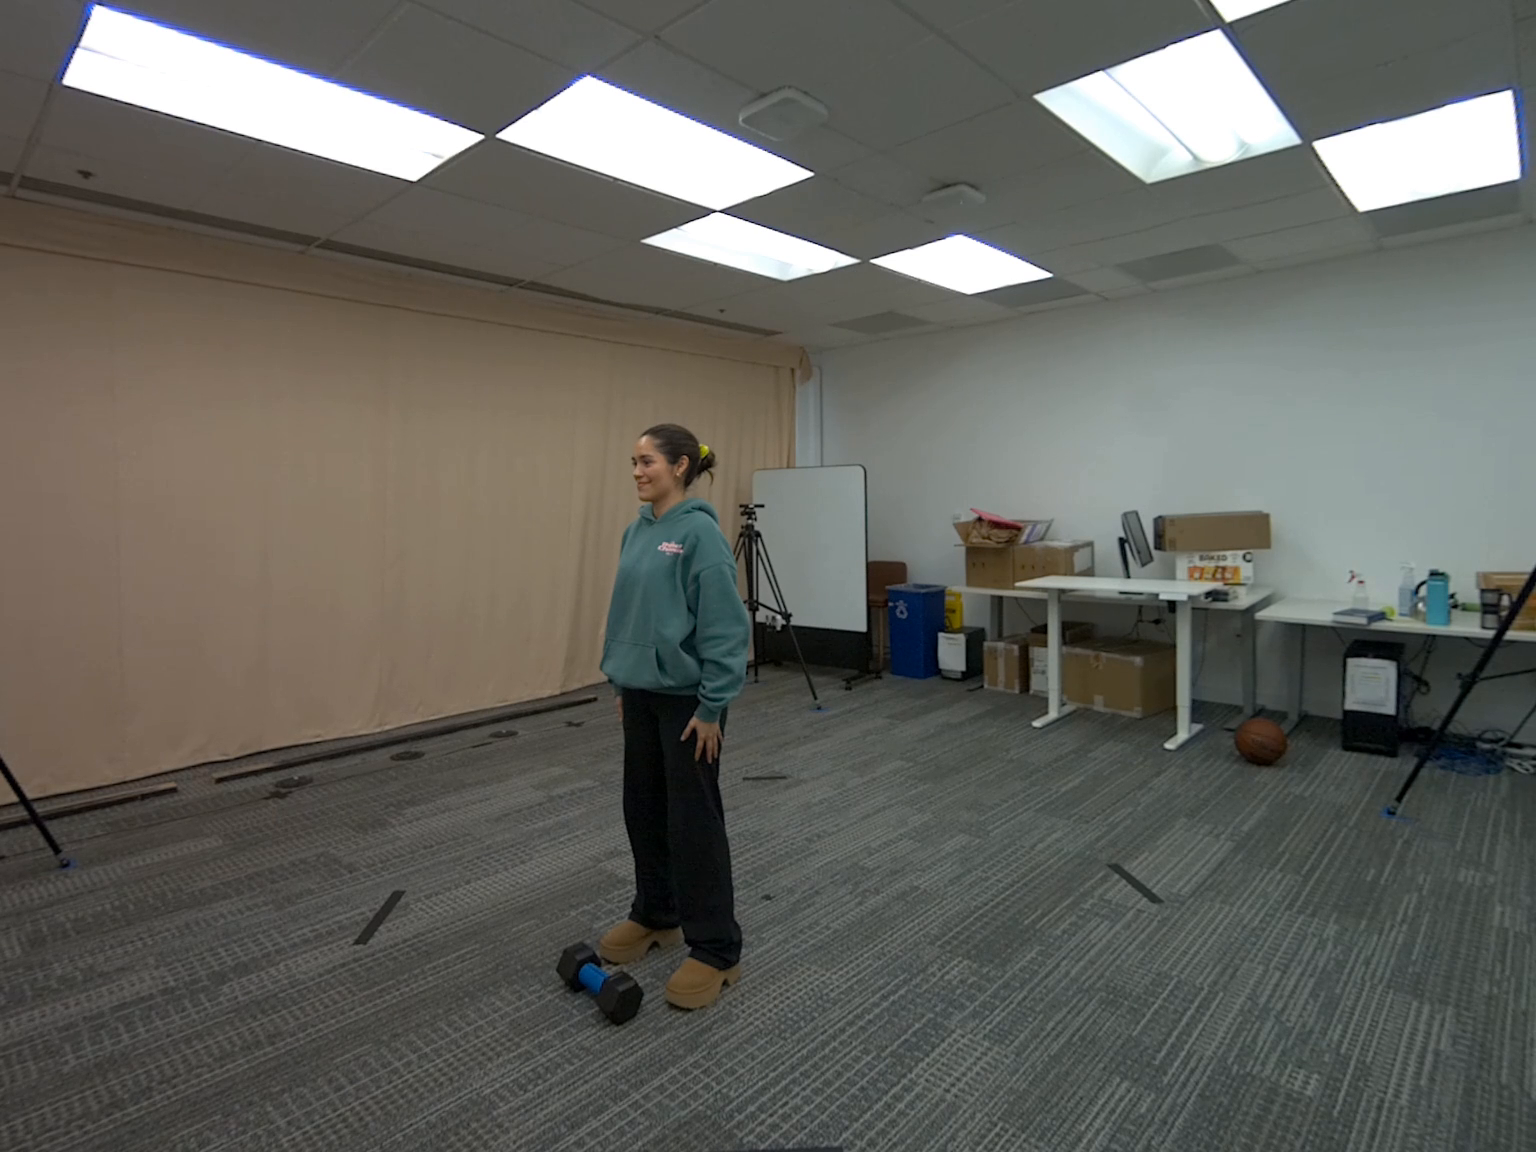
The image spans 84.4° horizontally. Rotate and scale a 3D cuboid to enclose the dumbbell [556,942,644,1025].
[{"bbox_3d":[-0.473,1.149,2.380,0.303,0.120,0.107,4,37,46],"label":"dumbbell"}]
